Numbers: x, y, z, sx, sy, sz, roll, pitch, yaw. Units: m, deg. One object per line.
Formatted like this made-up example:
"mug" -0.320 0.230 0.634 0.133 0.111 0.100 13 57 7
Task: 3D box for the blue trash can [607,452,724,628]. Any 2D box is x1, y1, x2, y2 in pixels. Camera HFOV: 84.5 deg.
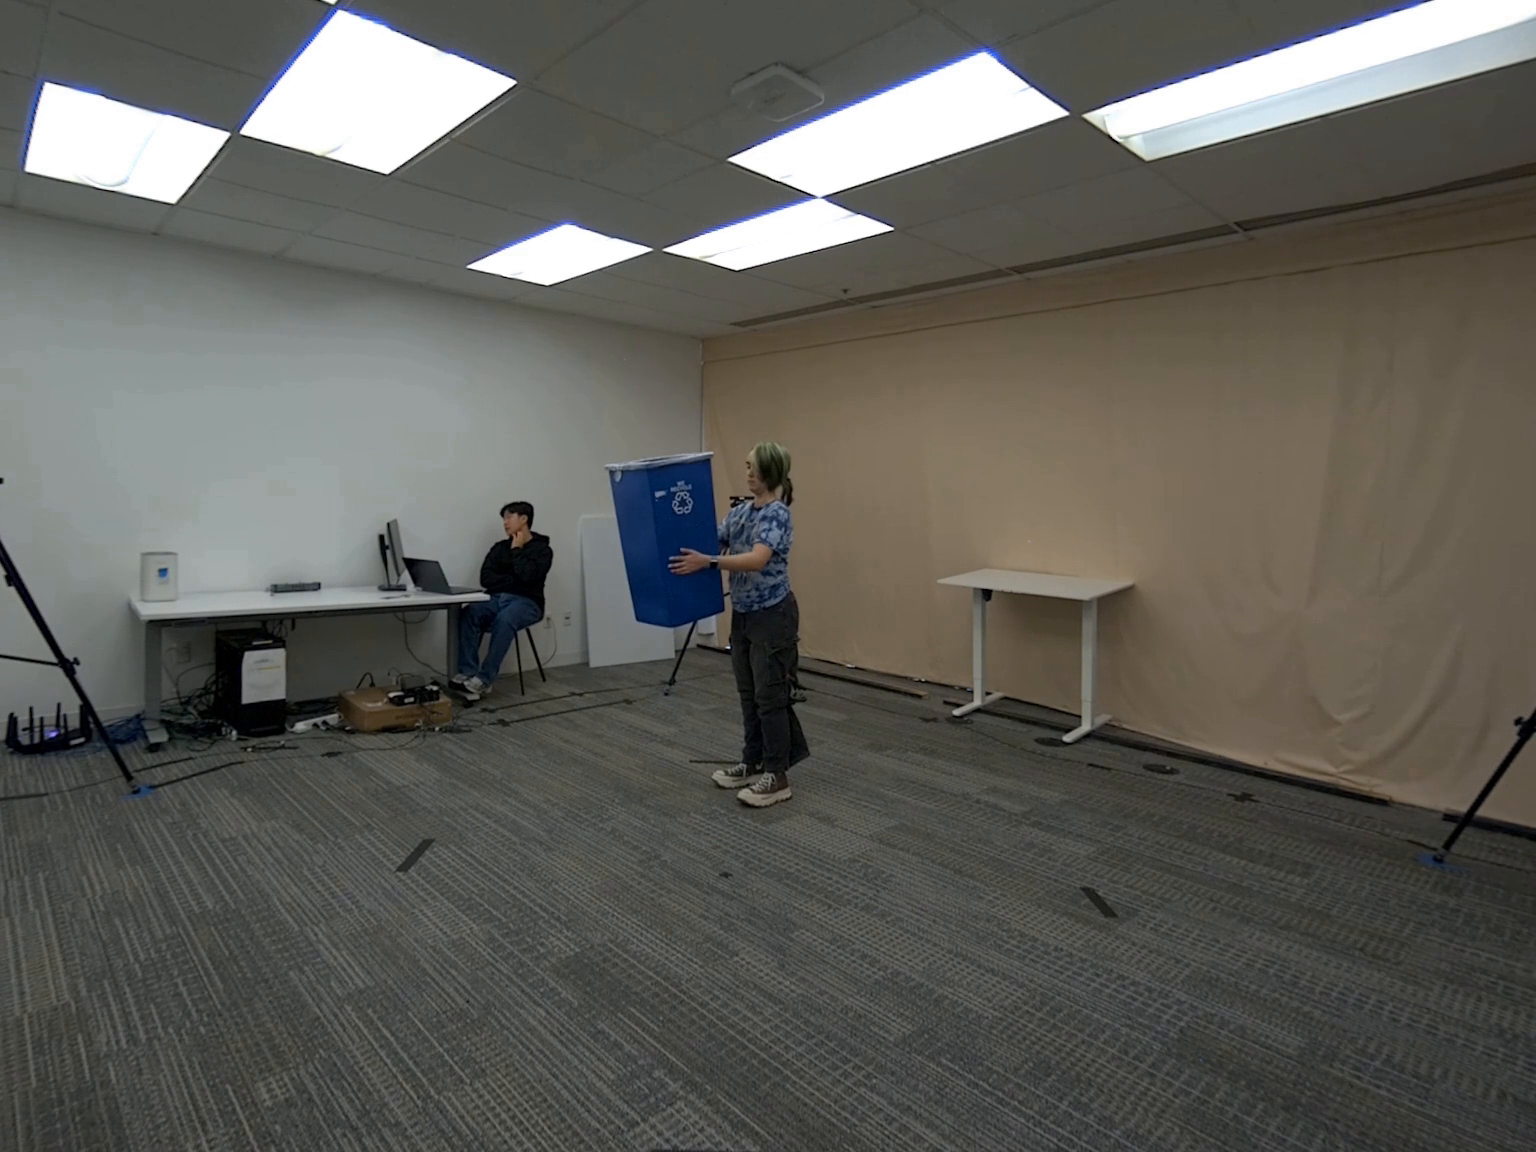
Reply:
"blue trash can" -0.447 -0.173 3.746 0.368 0.708 0.387 -15 12 -39
